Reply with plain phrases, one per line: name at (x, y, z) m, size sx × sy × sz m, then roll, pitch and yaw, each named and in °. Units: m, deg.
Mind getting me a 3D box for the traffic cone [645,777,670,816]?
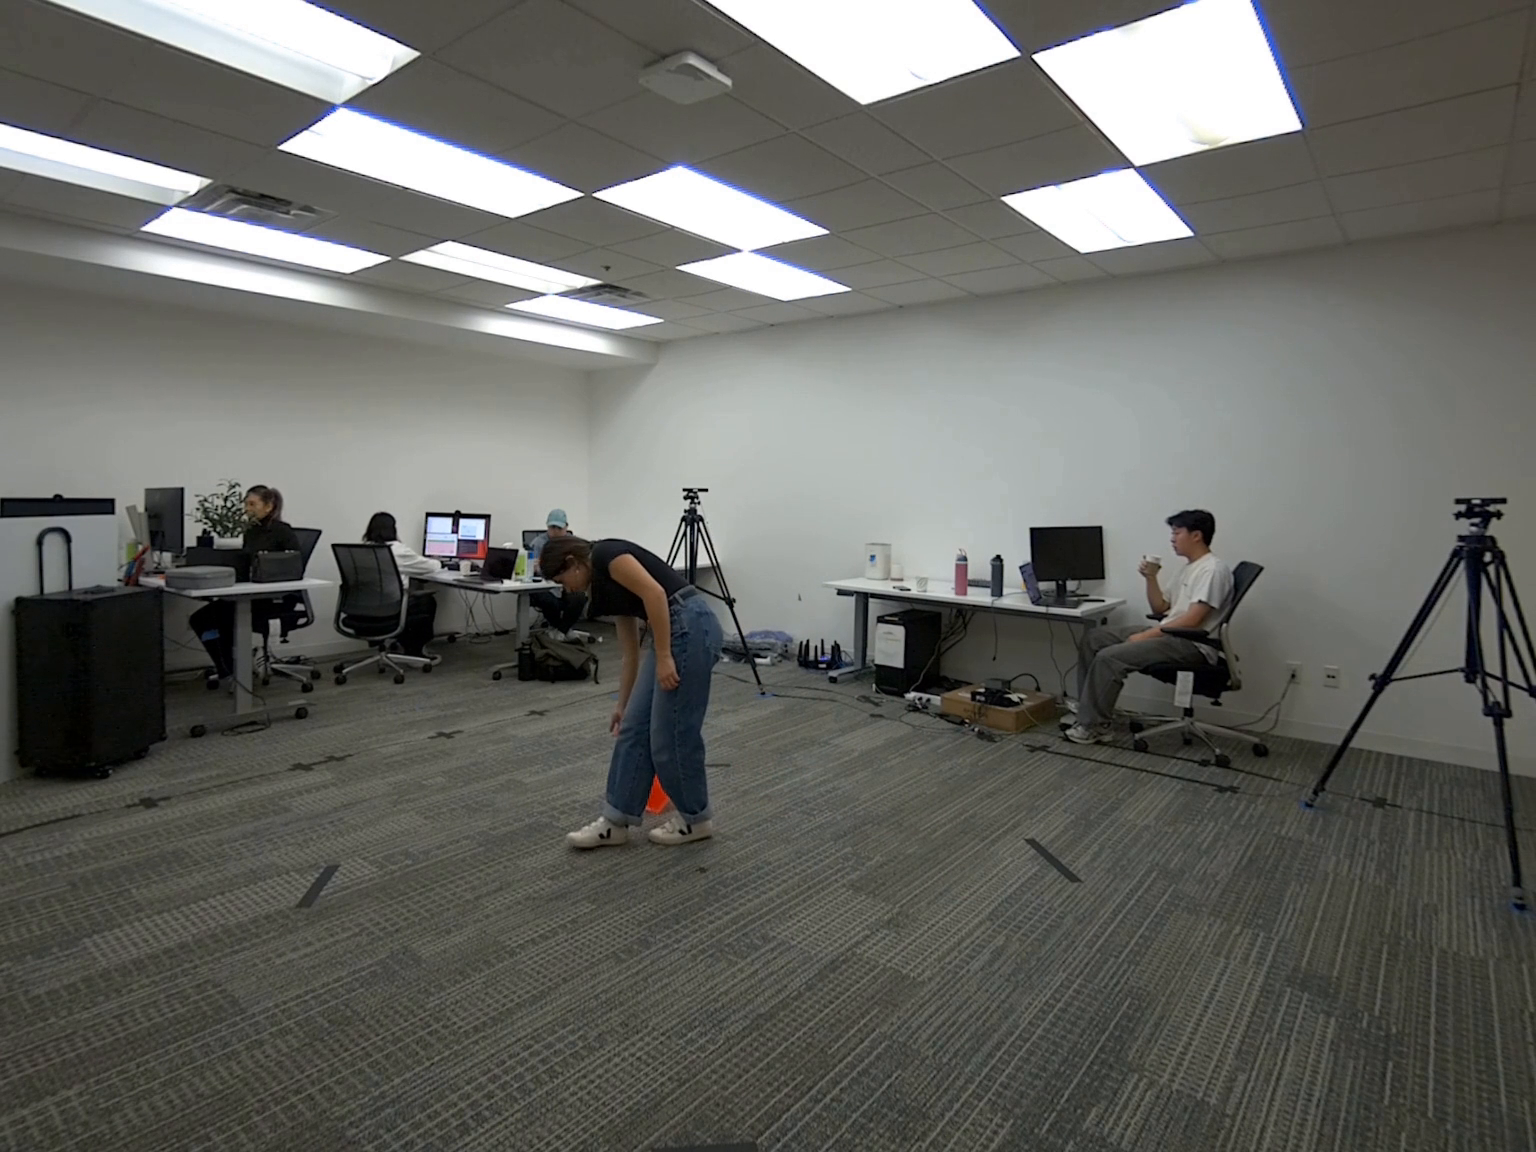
traffic cone at (-0.547, 0.791, 3.661) m, size 0.210 × 0.371 × 0.204 m, roll 8°, pitch 41°, yaw 42°
